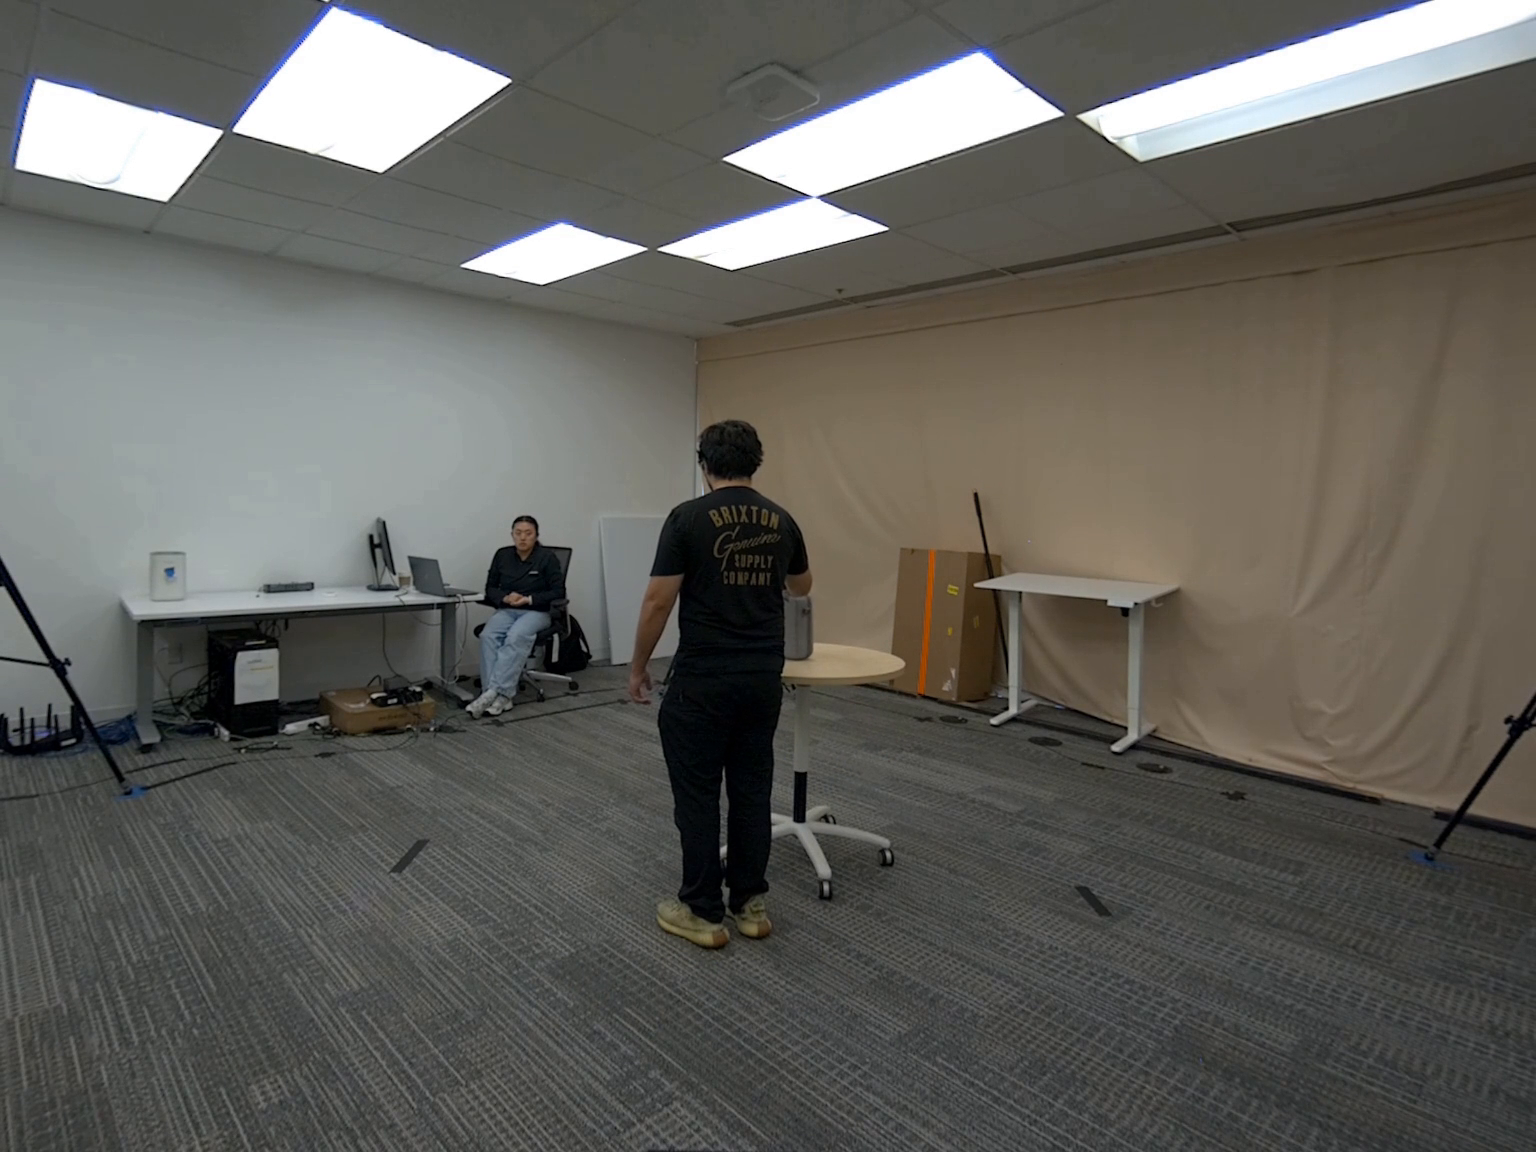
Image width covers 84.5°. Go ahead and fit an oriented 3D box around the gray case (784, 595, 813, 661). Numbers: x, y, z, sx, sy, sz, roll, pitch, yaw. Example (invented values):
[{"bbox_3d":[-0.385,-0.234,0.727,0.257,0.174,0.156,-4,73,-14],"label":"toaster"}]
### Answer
[{"bbox_3d":[0.047,0.181,3.261,0.263,0.259,0.102,6,10,43],"label":"gray case"}]
